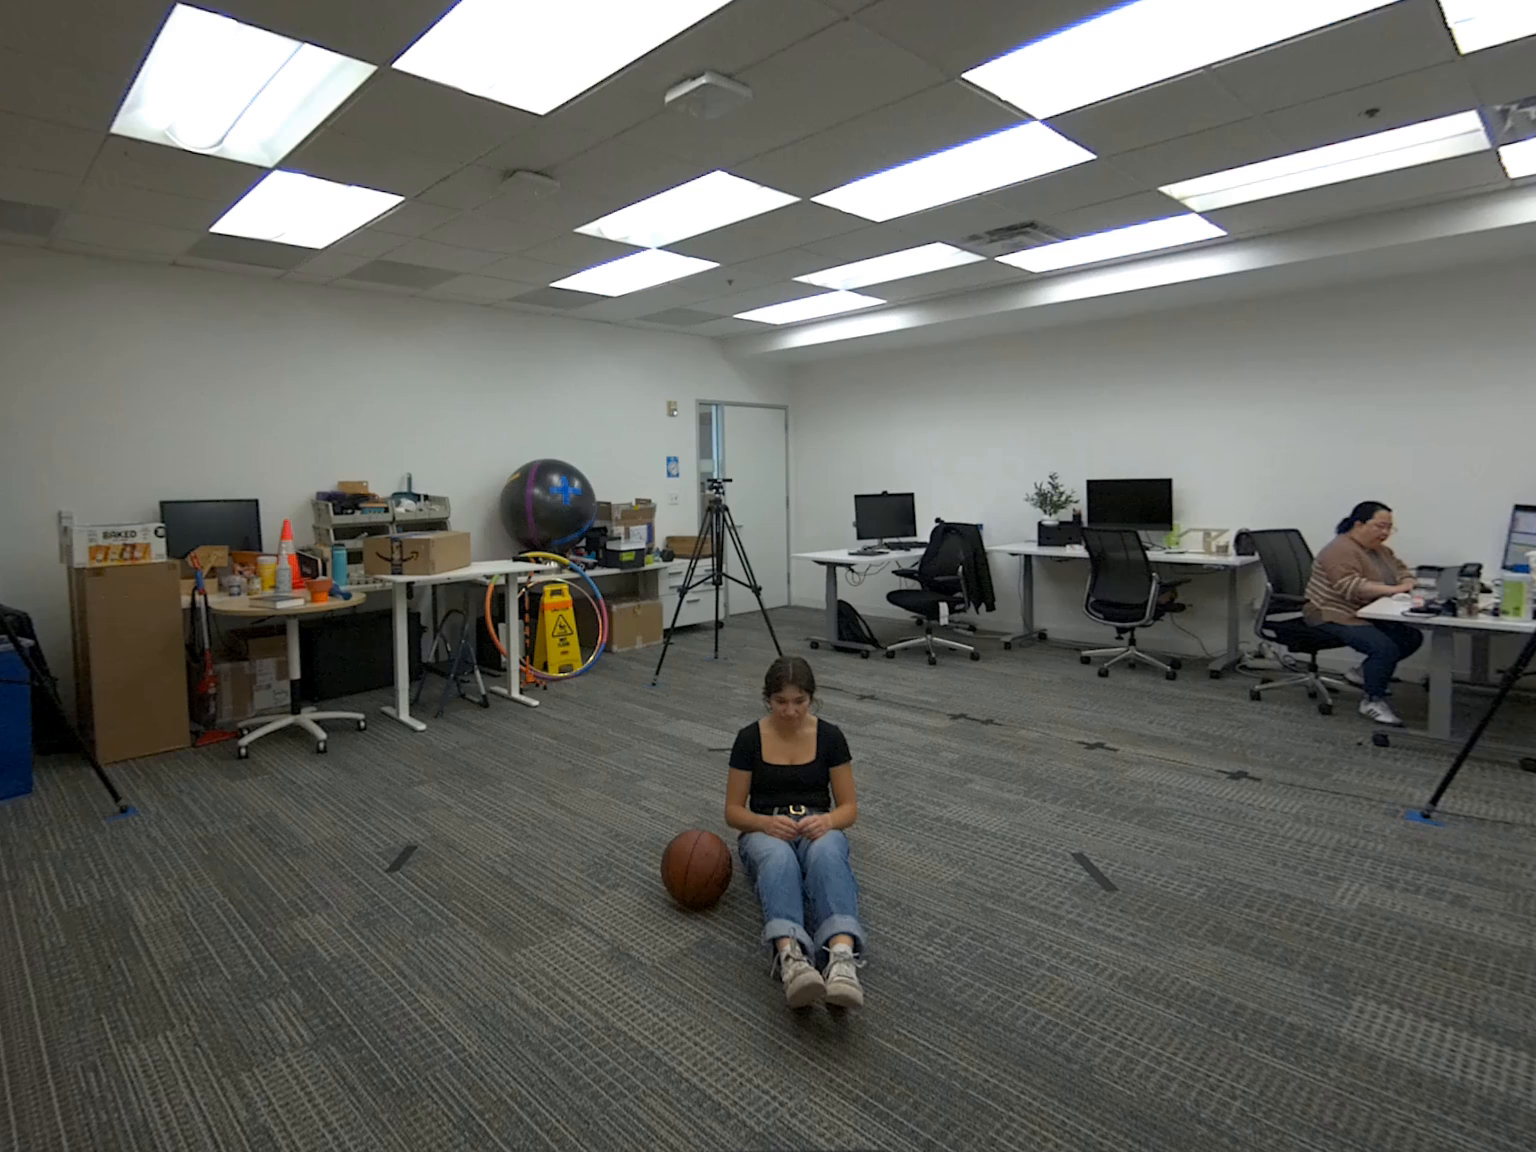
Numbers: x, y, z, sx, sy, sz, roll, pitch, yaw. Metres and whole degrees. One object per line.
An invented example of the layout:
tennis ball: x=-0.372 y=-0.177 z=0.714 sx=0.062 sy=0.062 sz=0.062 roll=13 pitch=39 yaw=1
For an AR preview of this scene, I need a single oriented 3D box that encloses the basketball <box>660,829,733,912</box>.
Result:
basketball: x=-0.234 y=0.961 z=2.816 sx=0.236 sy=0.235 sz=0.237 roll=-1 pitch=5 yaw=-2
